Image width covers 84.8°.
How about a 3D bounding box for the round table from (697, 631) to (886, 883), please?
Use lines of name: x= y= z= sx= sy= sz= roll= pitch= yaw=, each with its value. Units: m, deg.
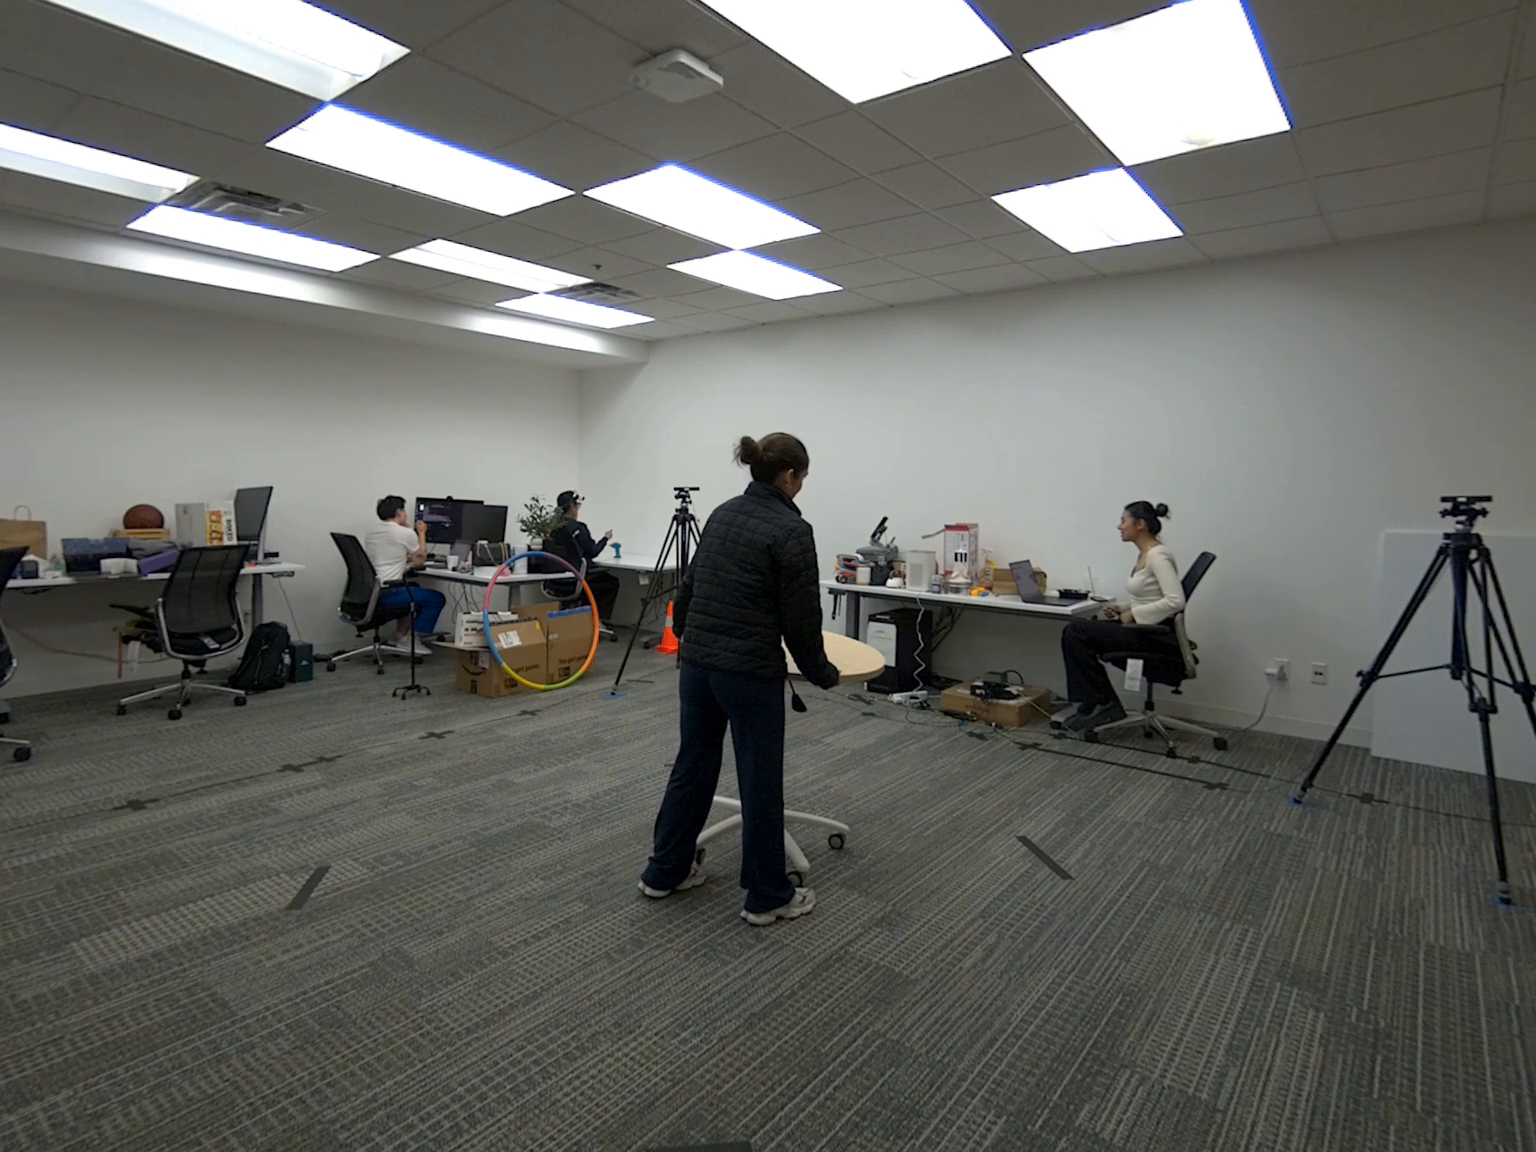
round table: x=0.037 y=0.637 z=3.239 sx=0.784 sy=0.782 sz=0.791 roll=5 pitch=7 yaw=-3
